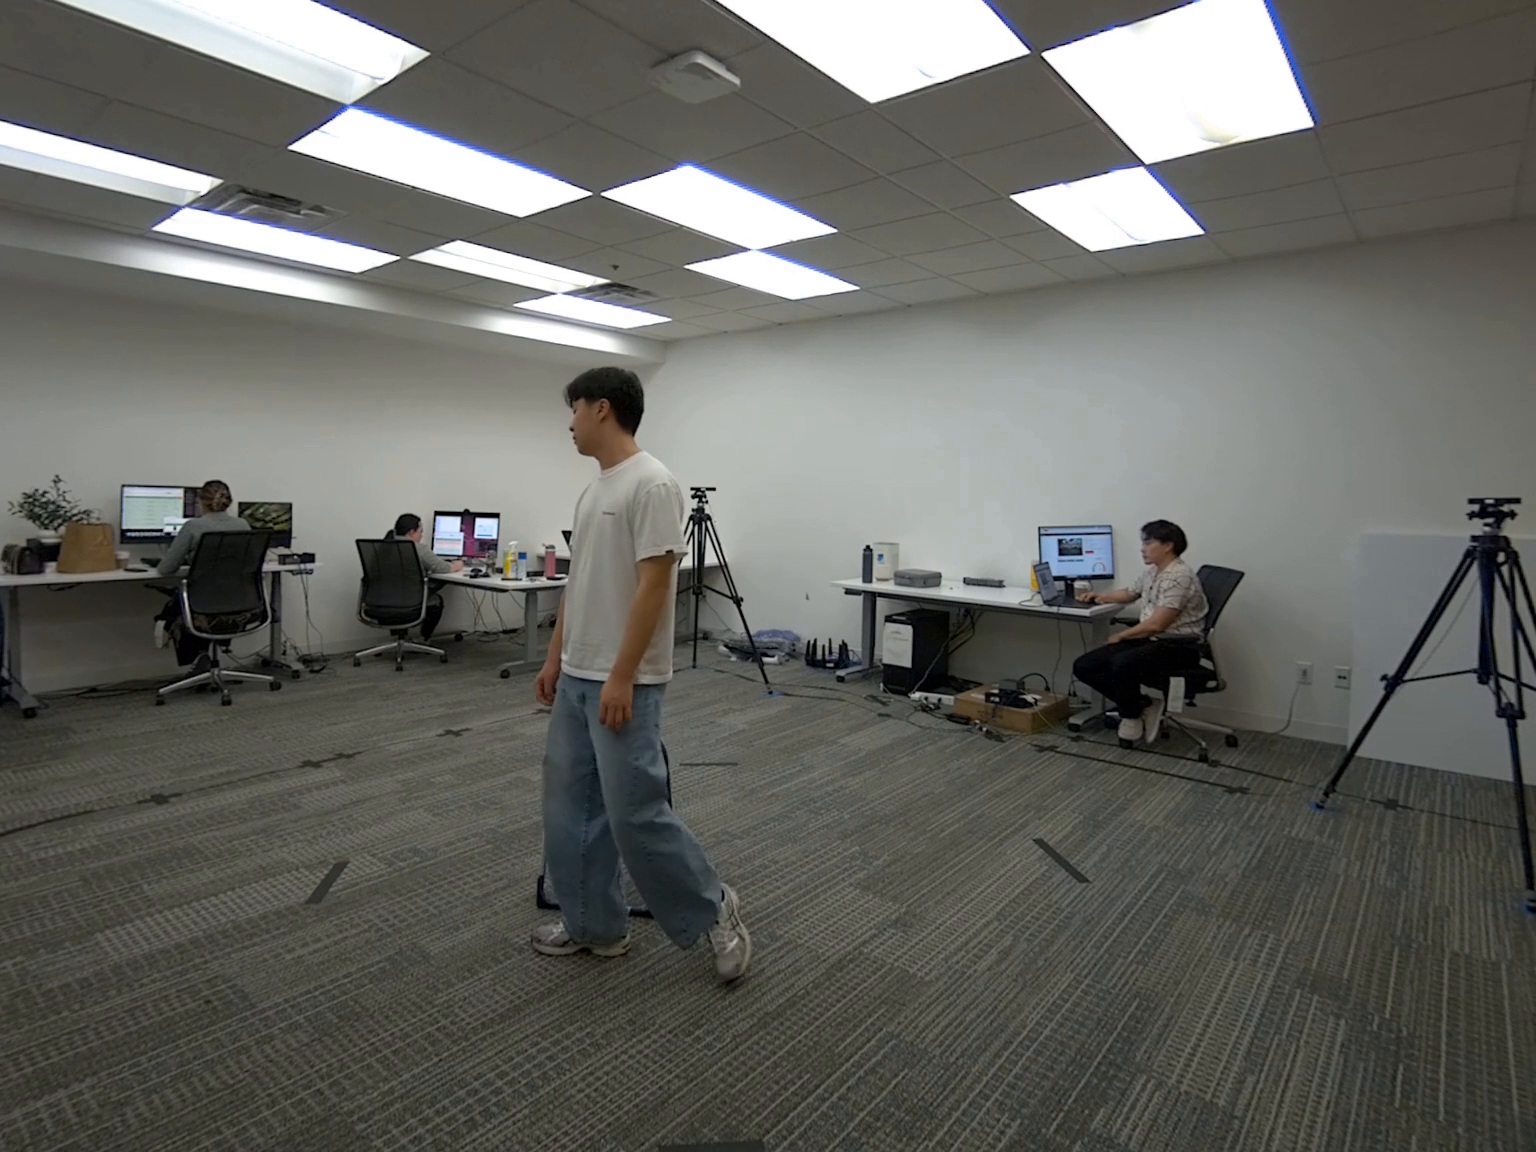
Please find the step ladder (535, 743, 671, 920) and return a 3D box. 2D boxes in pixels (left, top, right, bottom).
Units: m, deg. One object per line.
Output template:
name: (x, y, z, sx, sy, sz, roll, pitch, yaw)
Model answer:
step ladder: (-0.551, 0.774, 2.909, 0.434, 0.604, 0.348, 2, 4, 6)
